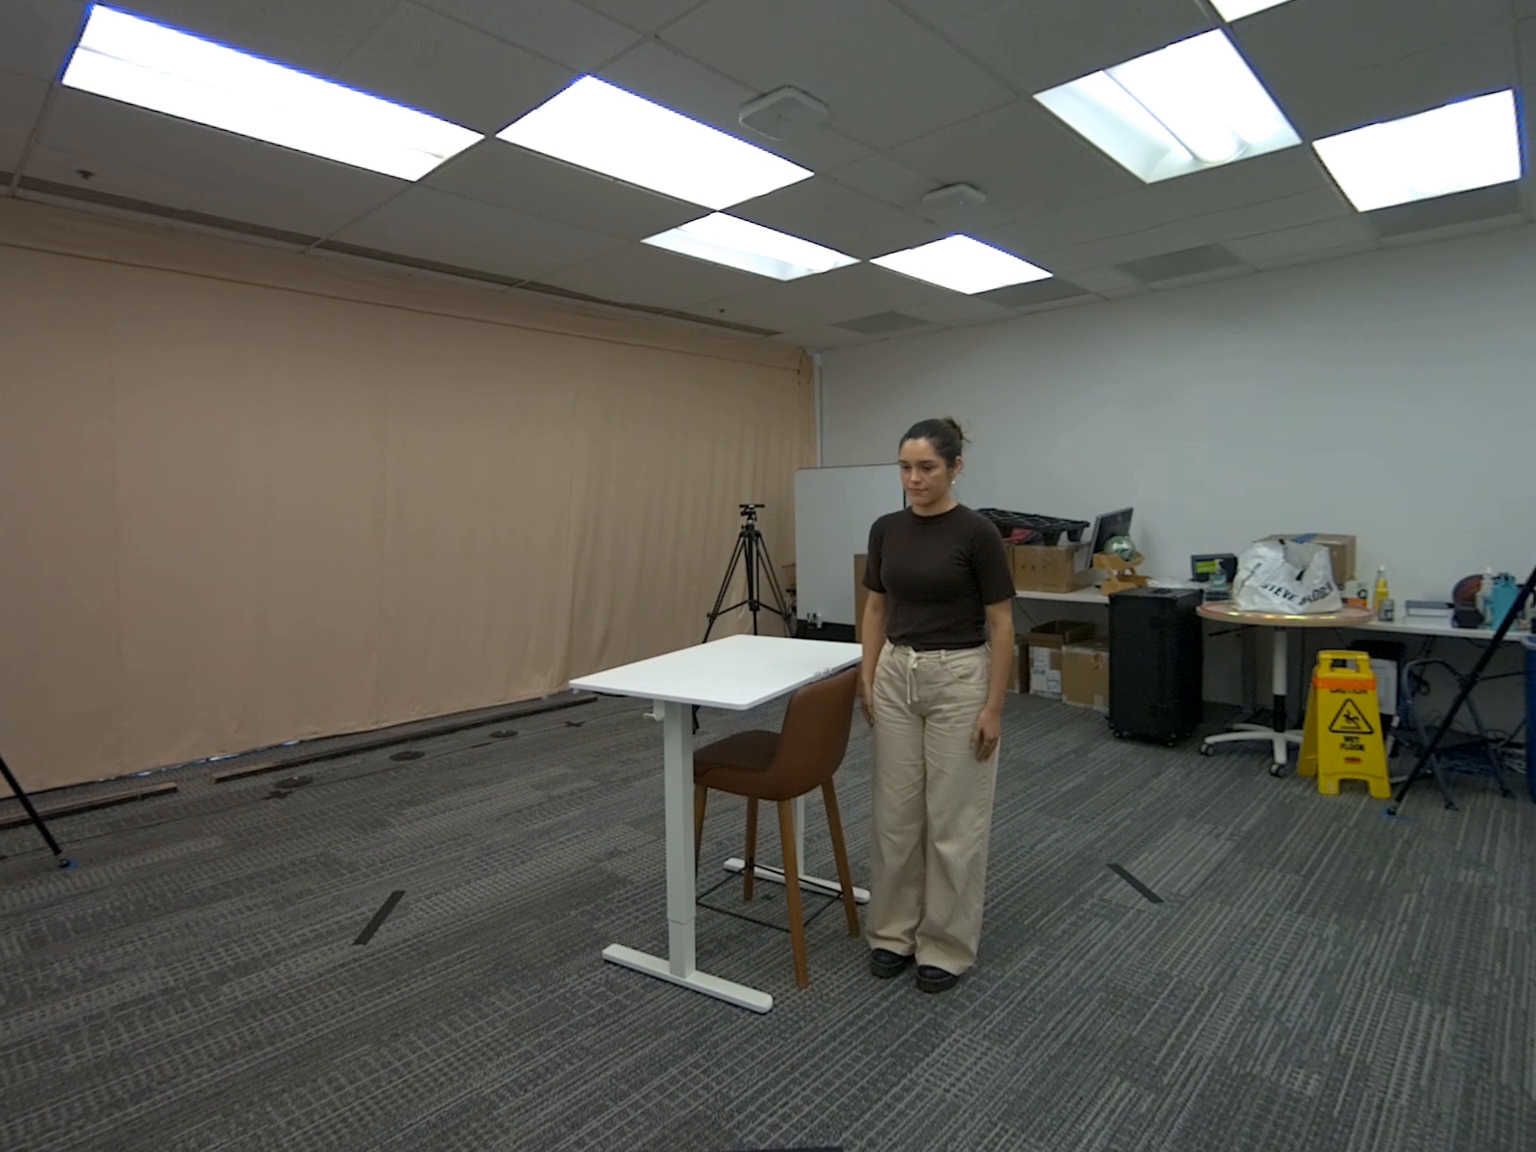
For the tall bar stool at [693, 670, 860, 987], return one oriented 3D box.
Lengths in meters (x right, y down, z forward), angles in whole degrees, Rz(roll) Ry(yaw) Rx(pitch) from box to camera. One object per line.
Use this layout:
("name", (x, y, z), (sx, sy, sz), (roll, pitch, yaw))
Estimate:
("tall bar stool", (0.015, 0.734, 2.667), (0.482, 0.887, 0.444), (4, 5, 33))
